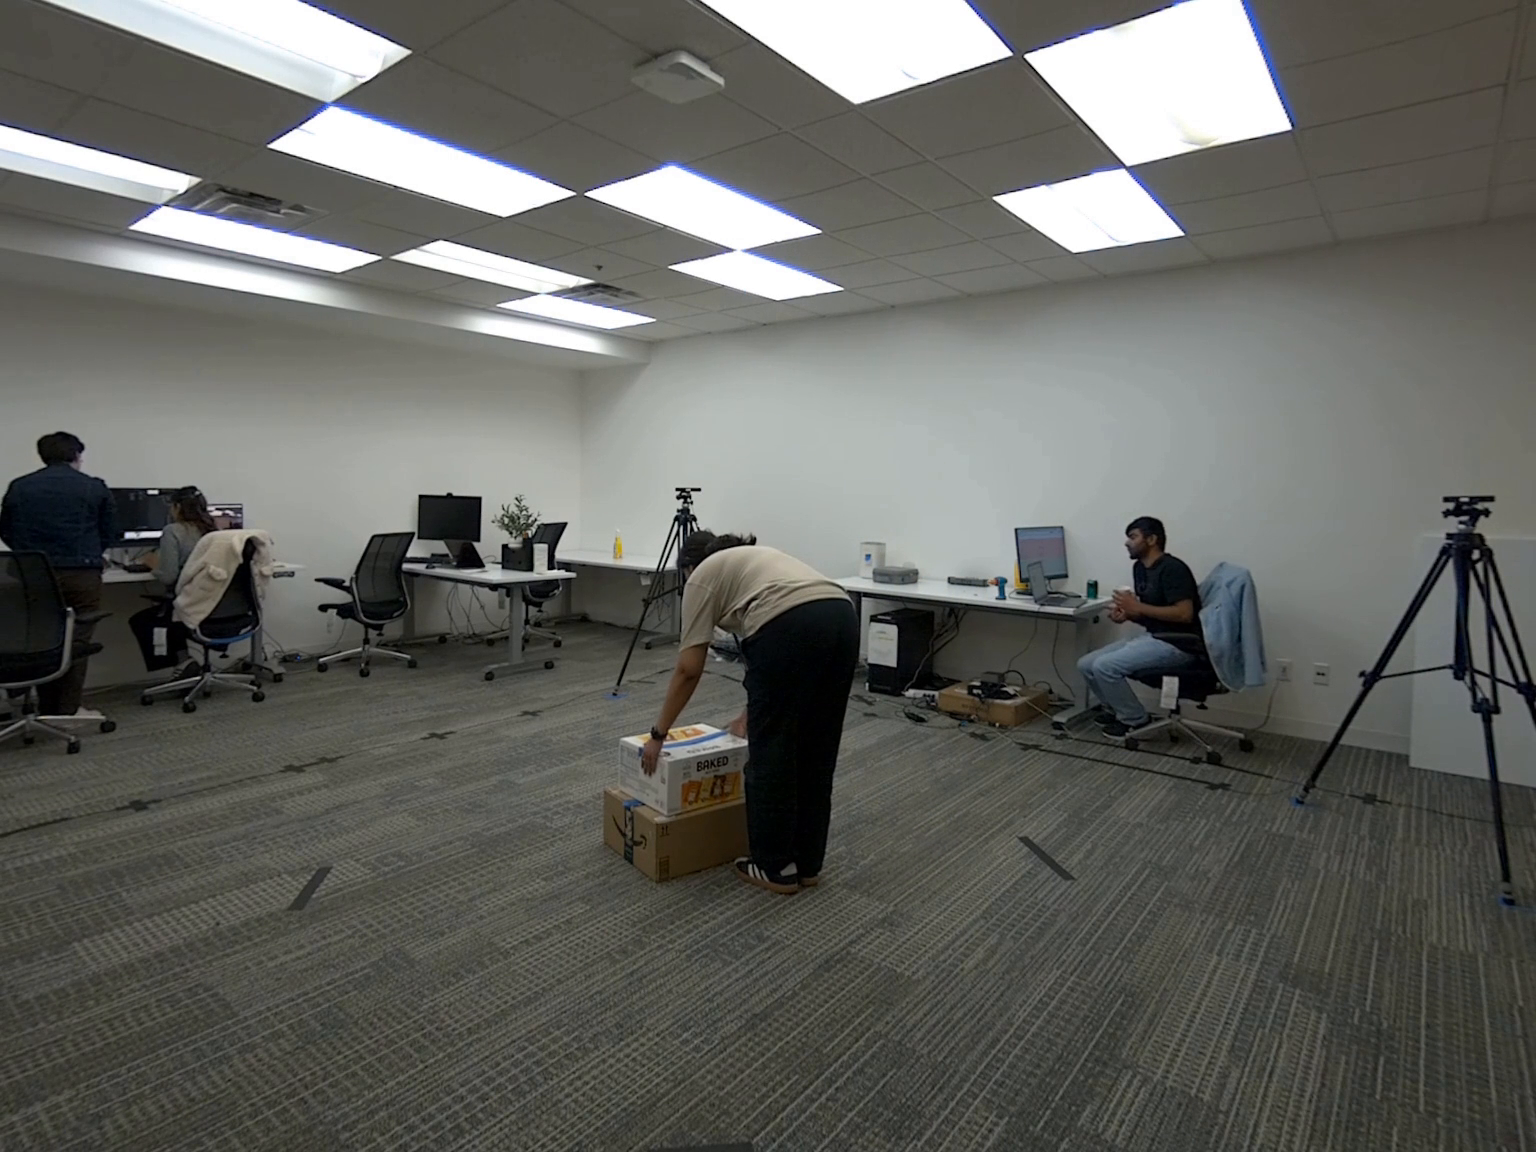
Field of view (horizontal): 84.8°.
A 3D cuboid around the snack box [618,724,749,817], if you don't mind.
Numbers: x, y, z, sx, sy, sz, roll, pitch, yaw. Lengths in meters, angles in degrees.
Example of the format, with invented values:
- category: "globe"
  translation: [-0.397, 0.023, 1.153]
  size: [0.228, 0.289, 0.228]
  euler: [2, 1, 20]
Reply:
- category: "snack box"
  translation: [-0.326, 0.731, 3.279]
  size: [0.393, 0.205, 0.352]
  euler: [-3, 6, -40]
